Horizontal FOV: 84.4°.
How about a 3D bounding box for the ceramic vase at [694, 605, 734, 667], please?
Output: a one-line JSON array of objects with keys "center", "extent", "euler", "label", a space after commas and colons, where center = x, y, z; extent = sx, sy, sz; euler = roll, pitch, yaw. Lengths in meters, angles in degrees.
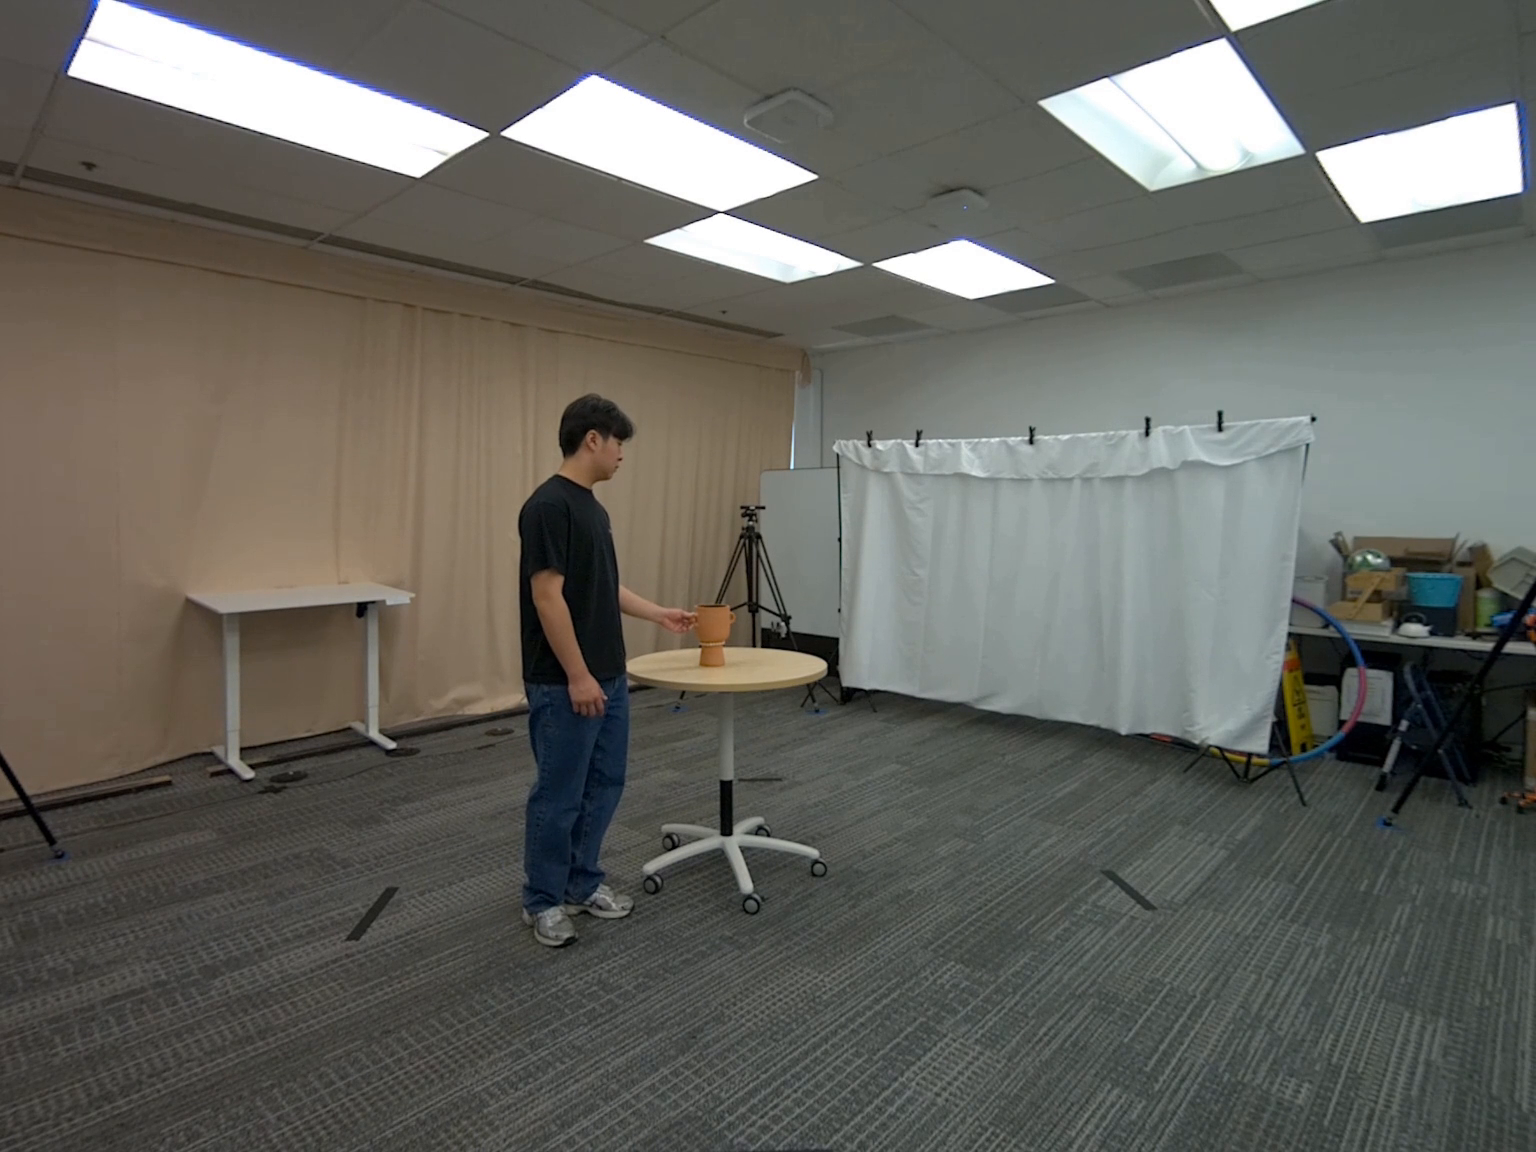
[{"center": [-0.210, 0.224, 3.164], "extent": [0.160, 0.219, 0.134], "euler": [-1, 3, 8], "label": "ceramic vase"}]
